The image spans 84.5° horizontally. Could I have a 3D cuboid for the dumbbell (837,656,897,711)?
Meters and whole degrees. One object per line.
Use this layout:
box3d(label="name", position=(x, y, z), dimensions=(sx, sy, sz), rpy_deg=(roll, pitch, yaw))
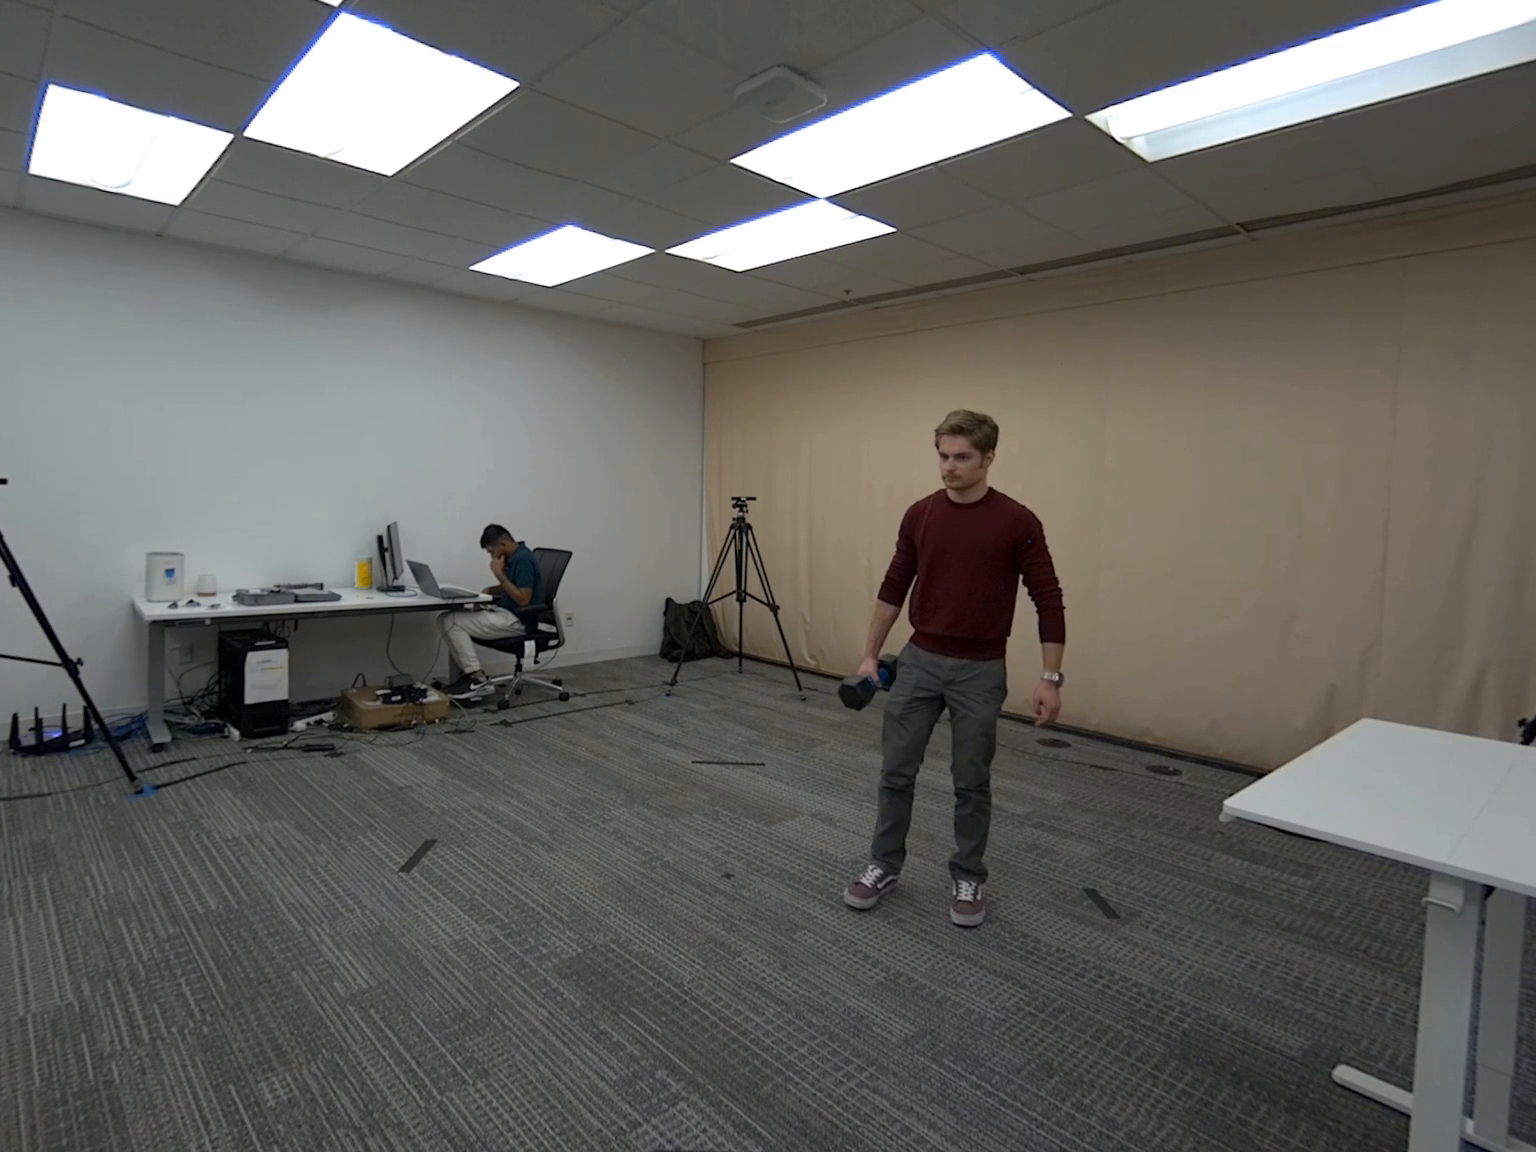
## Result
box3d(label="dumbbell", position=(0.379, 0.385, 3.034), dimensions=(0.289, 0.124, 0.109), rpy_deg=(-21, -12, -44))
